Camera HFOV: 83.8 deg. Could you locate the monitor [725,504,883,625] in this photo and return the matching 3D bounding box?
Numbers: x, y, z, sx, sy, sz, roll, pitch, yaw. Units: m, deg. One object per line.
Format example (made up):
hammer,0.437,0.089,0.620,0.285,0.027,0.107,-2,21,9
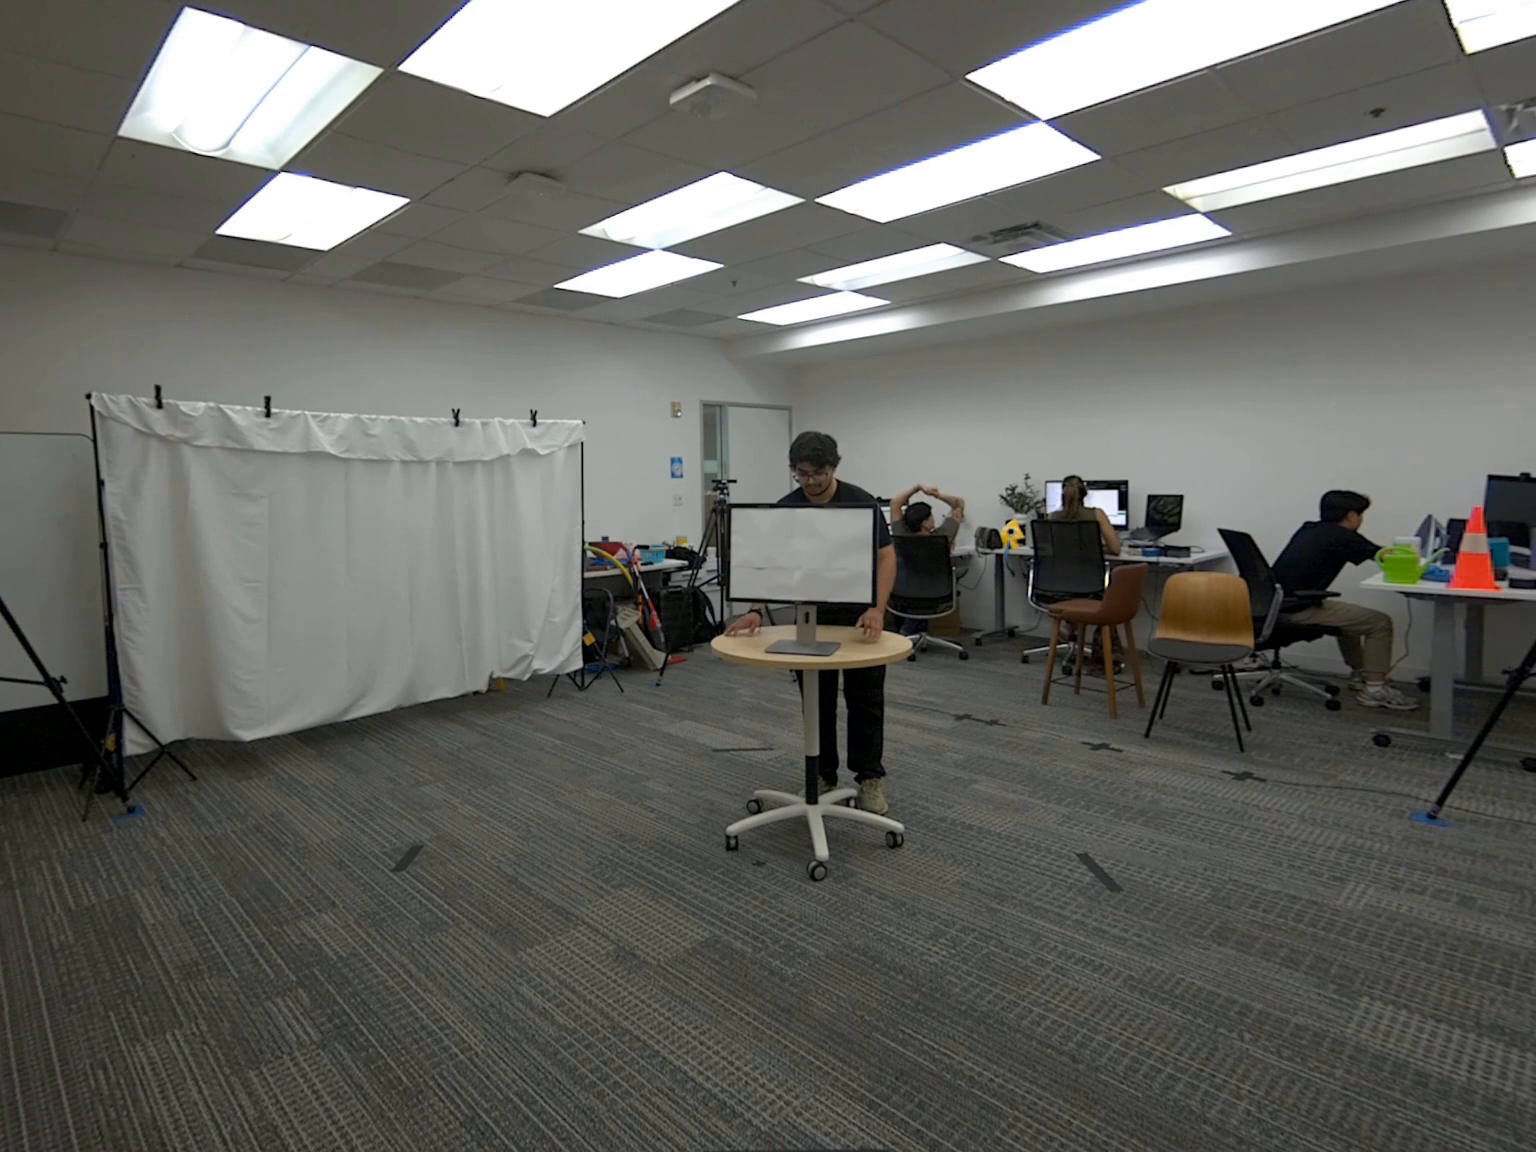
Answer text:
monitor,0.132,0.009,3.131,0.576,0.554,0.206,1,1,20
